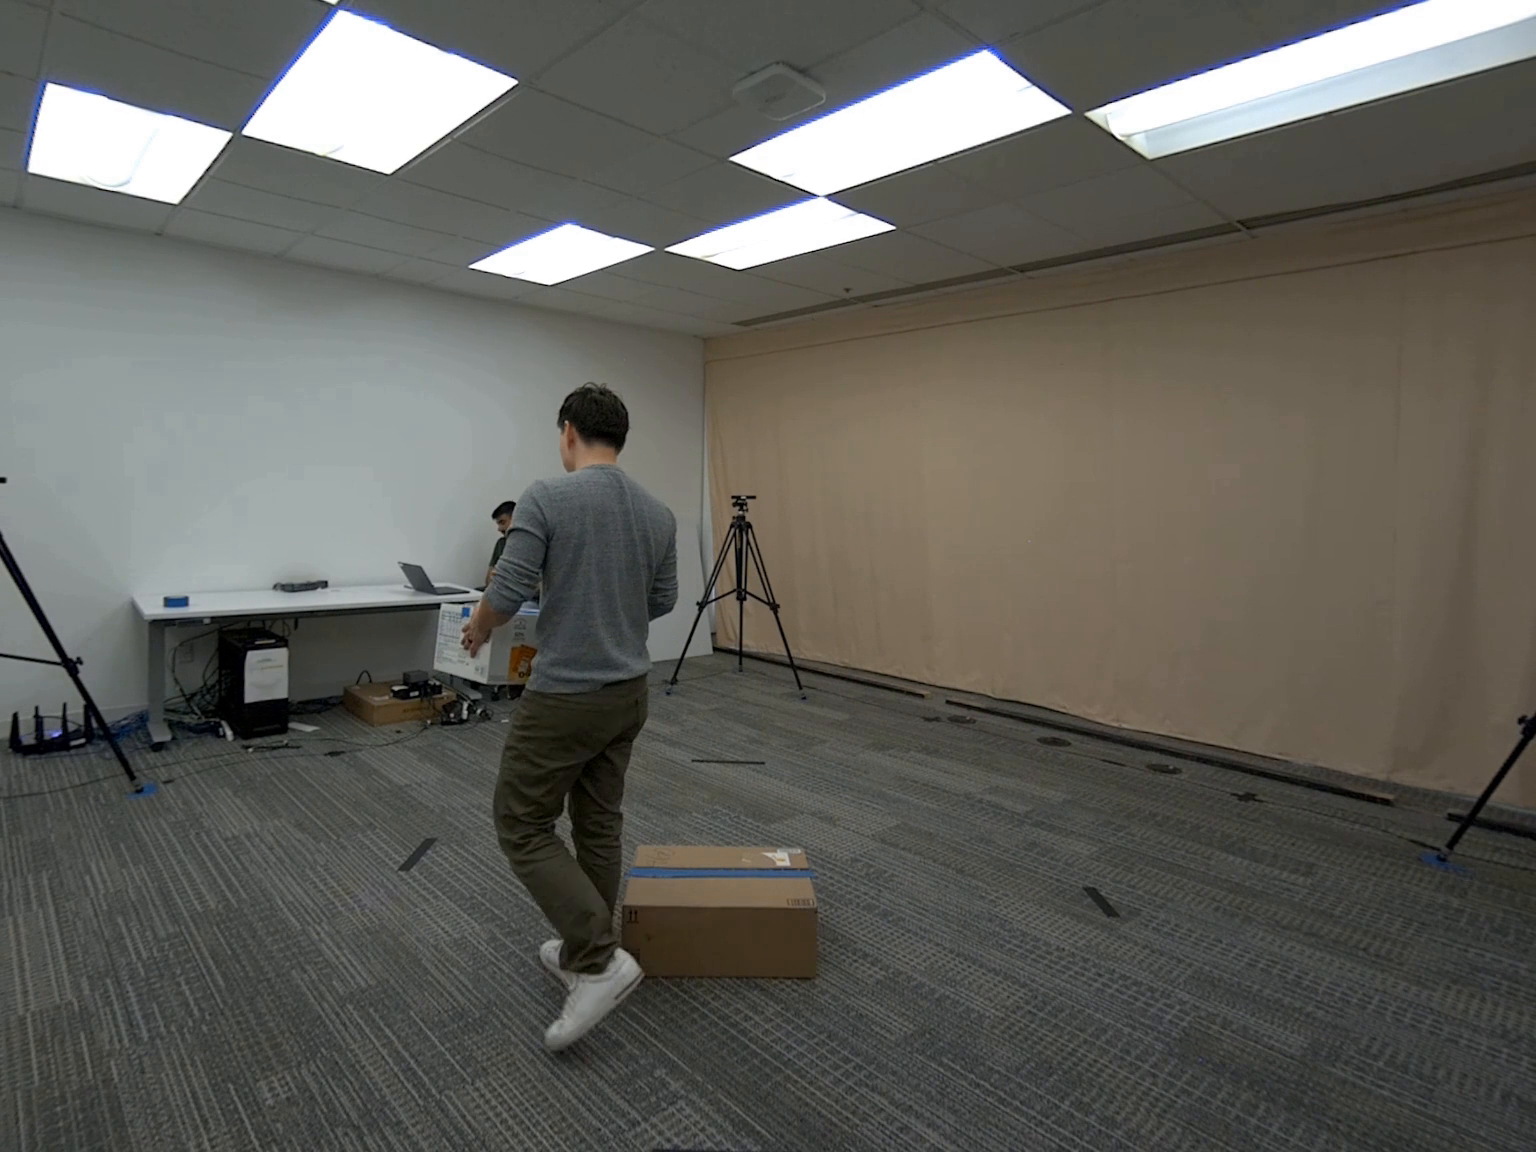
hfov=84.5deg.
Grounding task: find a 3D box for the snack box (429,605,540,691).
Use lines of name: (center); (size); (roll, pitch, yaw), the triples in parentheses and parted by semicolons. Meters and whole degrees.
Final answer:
snack box: (-0.746, 0.214, 2.563); (0.394, 0.206, 0.349); (7, -3, -45)
